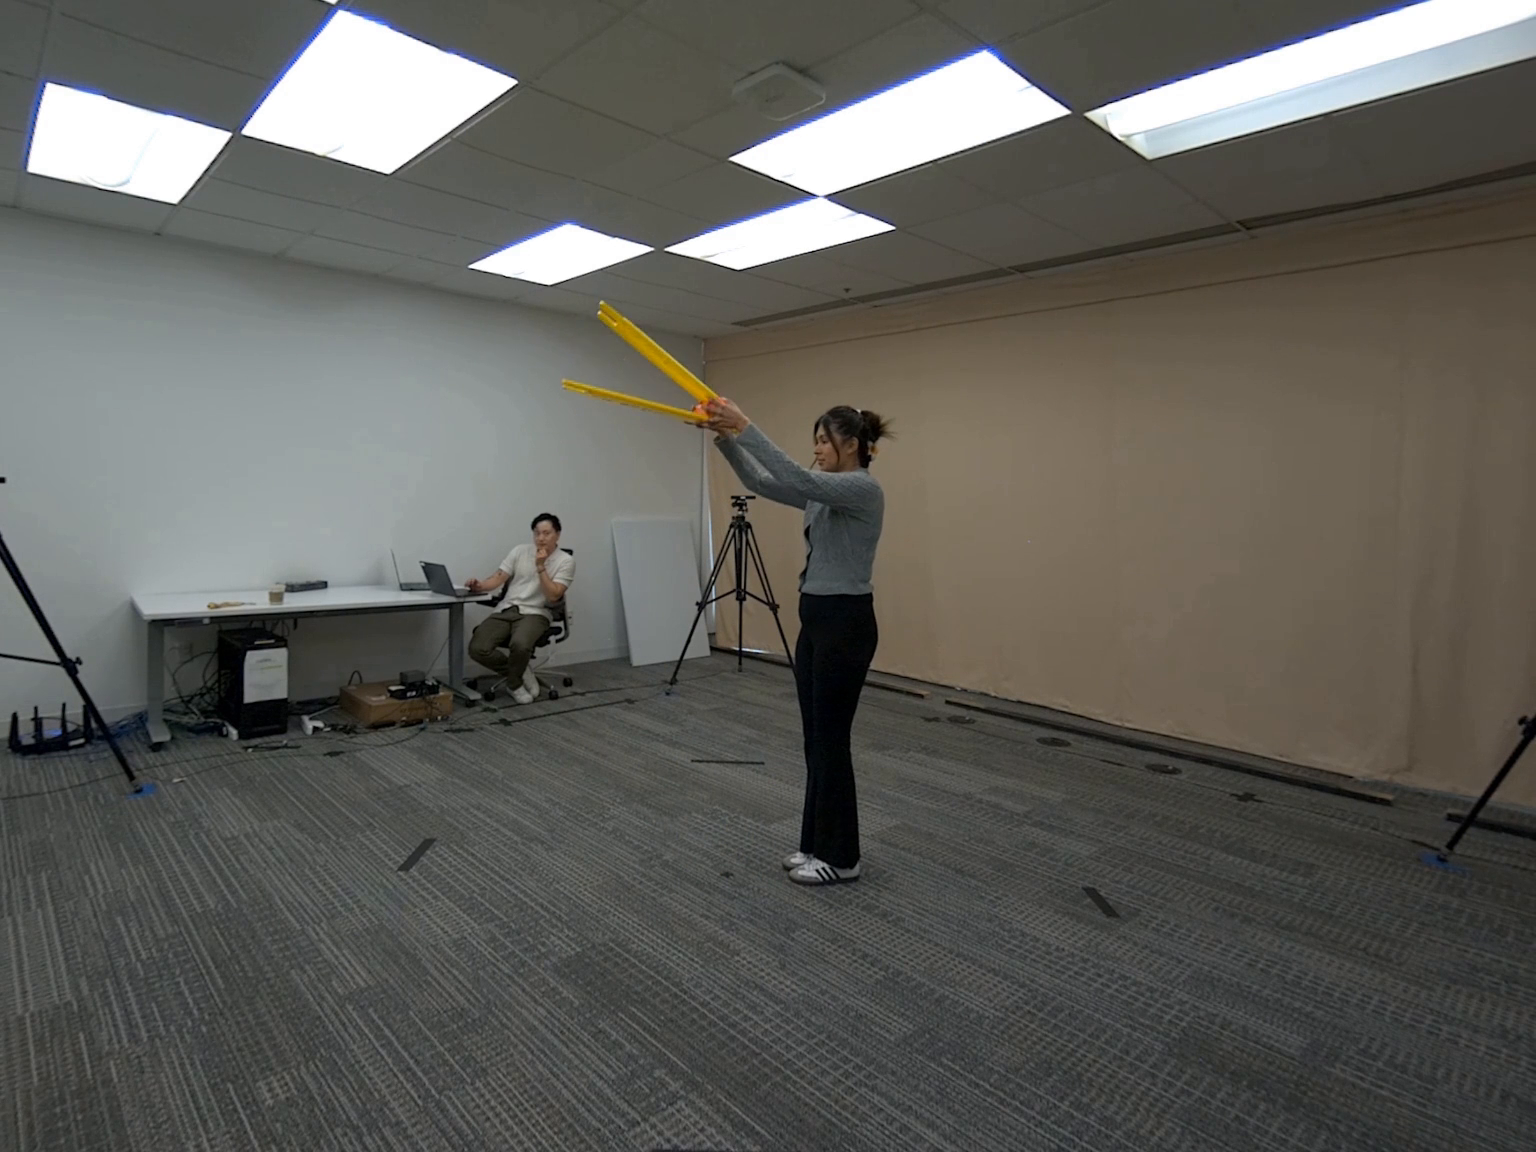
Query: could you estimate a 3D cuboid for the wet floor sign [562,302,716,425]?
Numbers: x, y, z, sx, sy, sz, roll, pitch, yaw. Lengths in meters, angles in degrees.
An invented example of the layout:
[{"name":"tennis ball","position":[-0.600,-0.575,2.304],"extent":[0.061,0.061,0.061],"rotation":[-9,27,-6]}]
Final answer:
[{"name":"wet floor sign","position":[-0.356,-0.644,2.910],"extent":[0.639,0.289,0.285],"rotation":[25,1,-10]}]
